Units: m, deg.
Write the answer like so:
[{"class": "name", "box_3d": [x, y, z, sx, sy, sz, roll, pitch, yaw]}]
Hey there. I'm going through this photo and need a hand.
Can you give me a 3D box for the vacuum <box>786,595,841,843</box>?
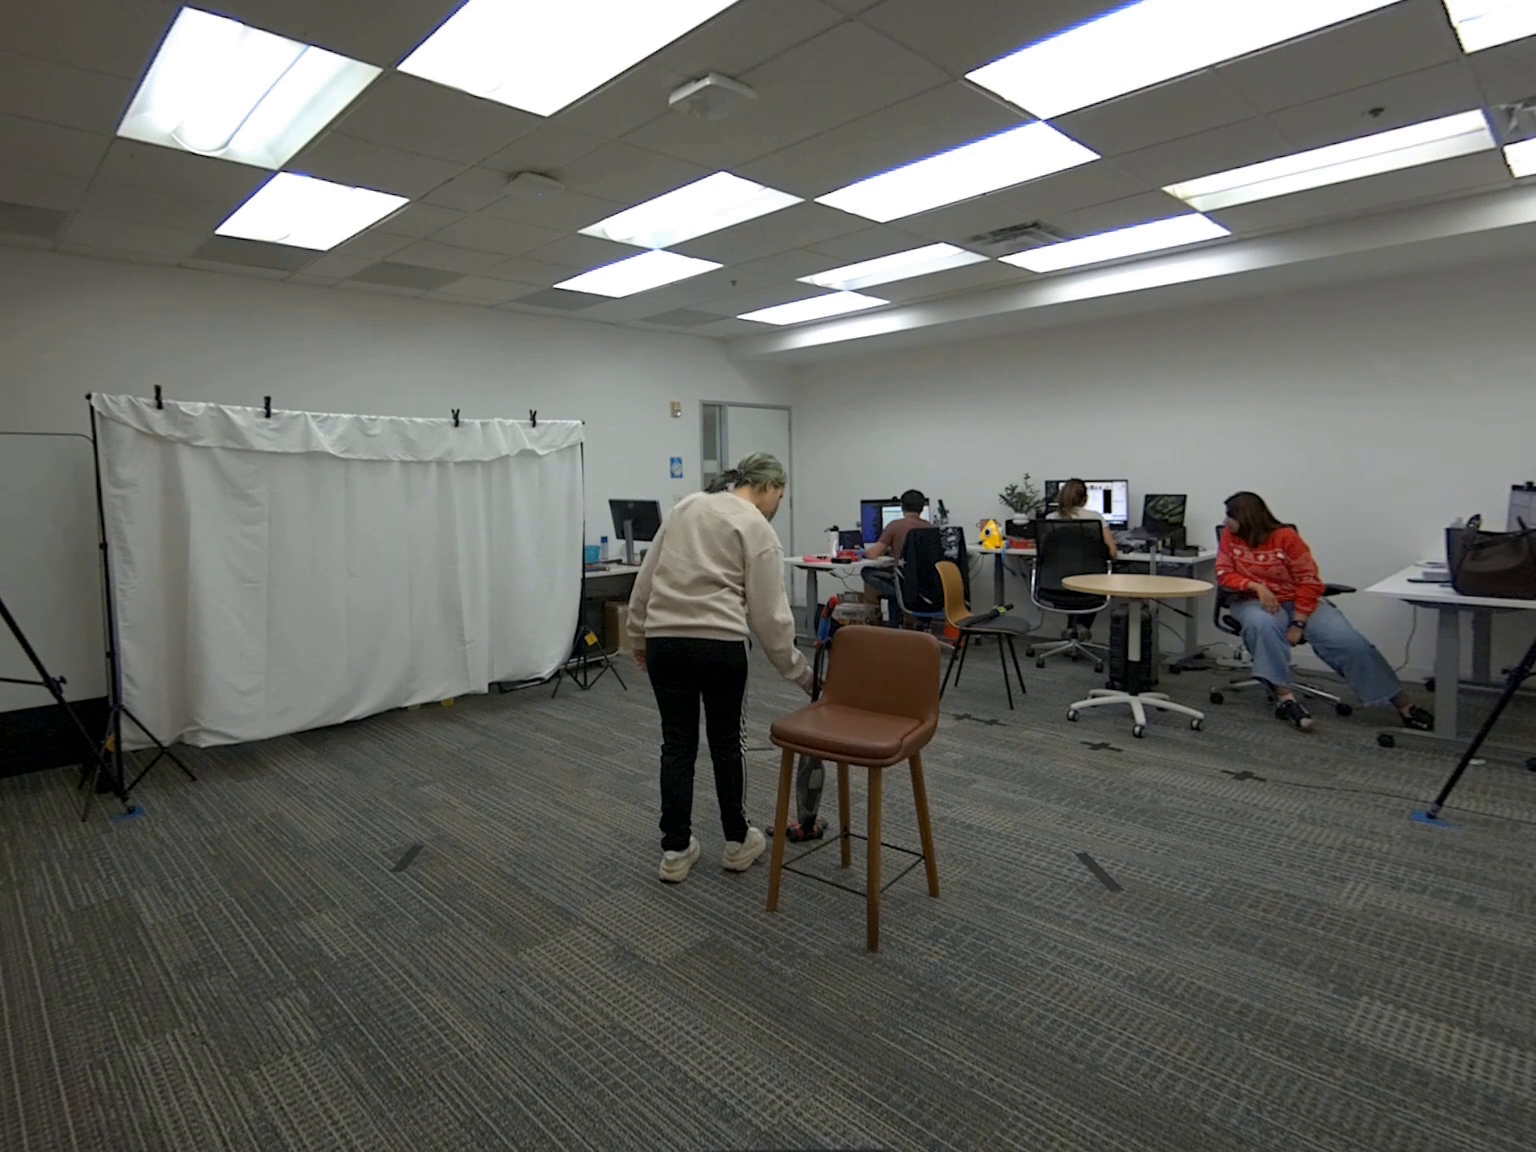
[{"class": "vacuum", "box_3d": [0.182, 0.546, 3.165, 0.248, 1.032, 0.149, -1, 24, -18]}]
